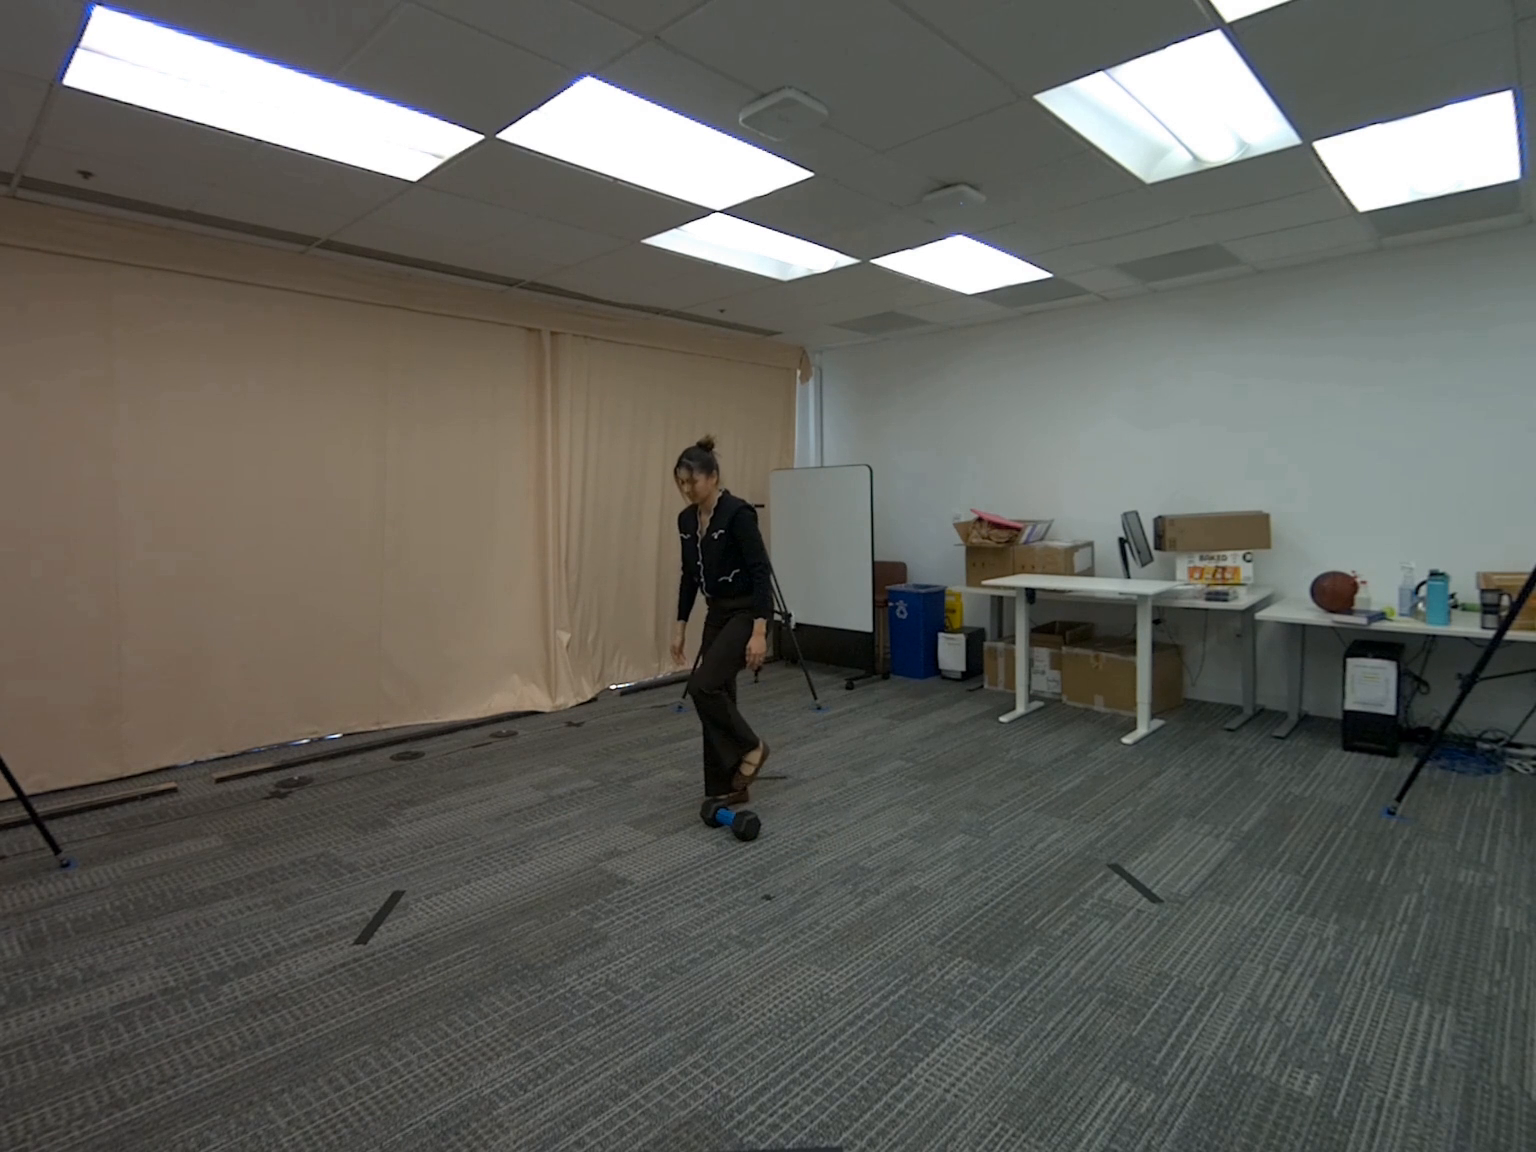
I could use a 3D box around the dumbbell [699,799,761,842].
[{"bbox_3d":[-0.161,1.035,3.593,0.105,0.123,0.303,34,-19,-36],"label":"dumbbell"}]
